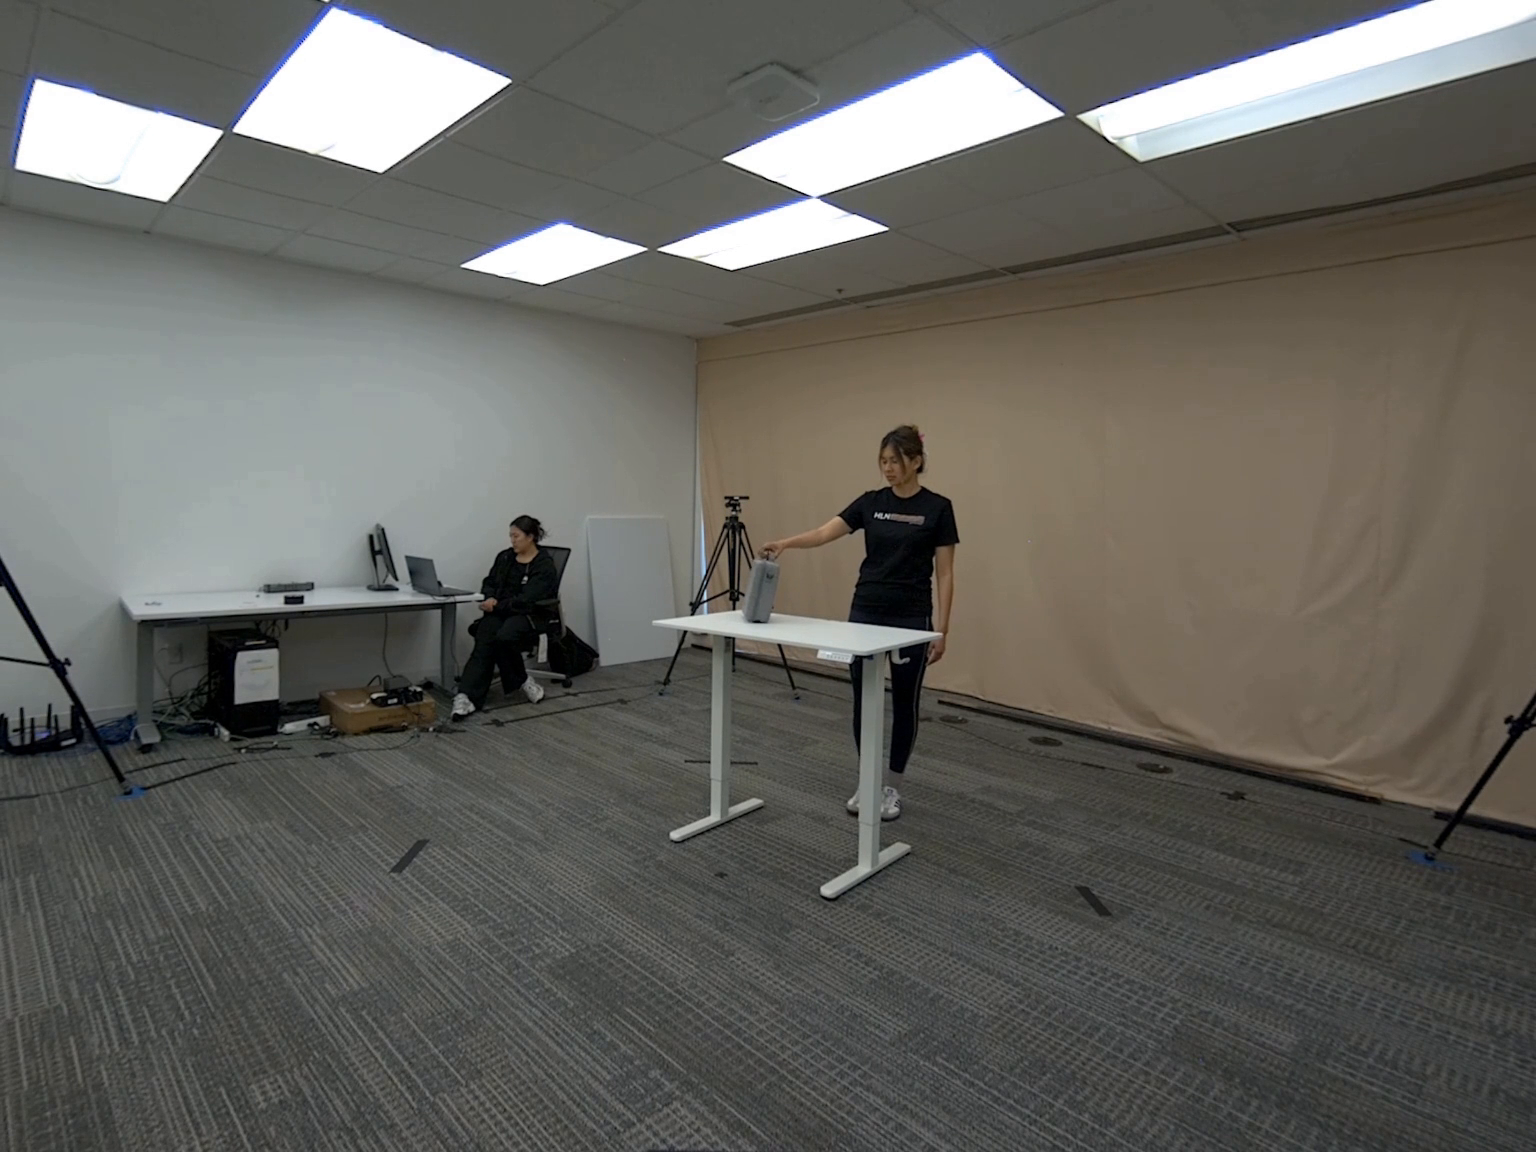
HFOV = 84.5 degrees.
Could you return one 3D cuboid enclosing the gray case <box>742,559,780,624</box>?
[{"bbox_3d":[-0.051,0.057,3.558,0.104,0.260,0.258,11,1,-7],"label":"gray case"}]
